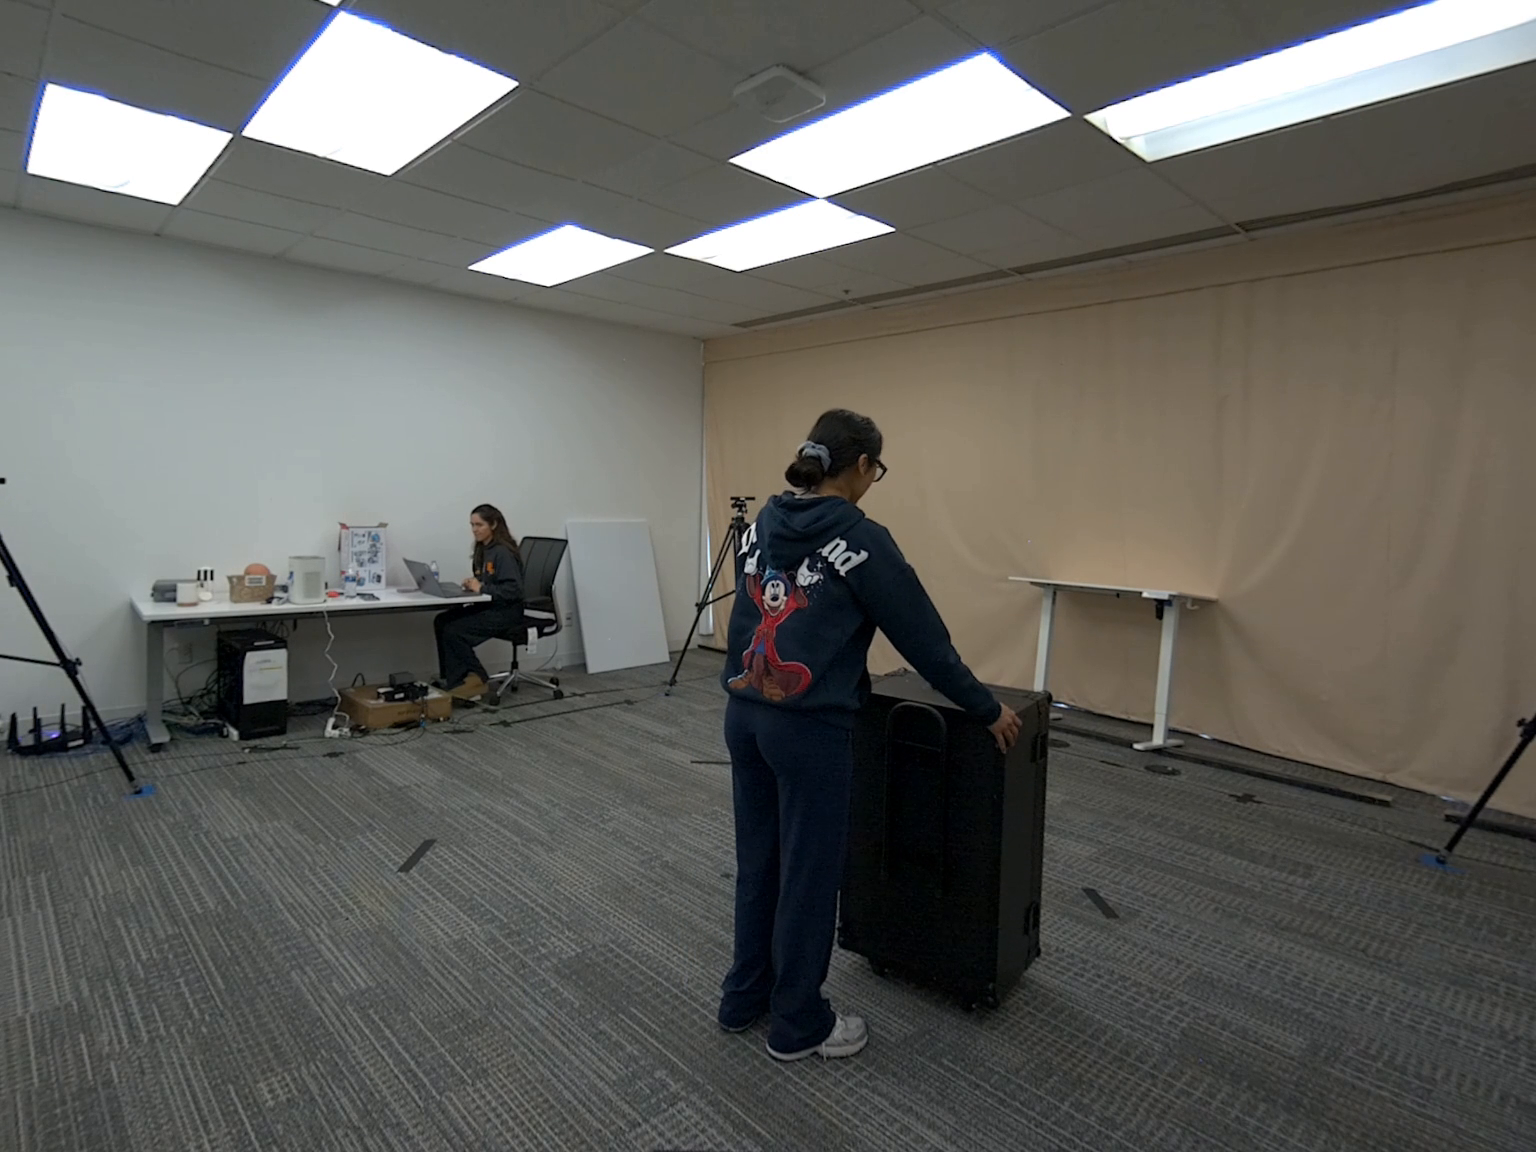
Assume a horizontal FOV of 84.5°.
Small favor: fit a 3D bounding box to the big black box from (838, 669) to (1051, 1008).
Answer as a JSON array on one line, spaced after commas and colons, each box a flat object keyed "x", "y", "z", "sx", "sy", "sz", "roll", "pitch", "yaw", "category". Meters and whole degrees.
[{"x": 0.513, "y": 0.756, "z": 2.461, "sx": 0.534, "sy": 0.858, "sz": 0.388, "roll": 4, "pitch": 6, "yaw": 37, "category": "big black box"}]
